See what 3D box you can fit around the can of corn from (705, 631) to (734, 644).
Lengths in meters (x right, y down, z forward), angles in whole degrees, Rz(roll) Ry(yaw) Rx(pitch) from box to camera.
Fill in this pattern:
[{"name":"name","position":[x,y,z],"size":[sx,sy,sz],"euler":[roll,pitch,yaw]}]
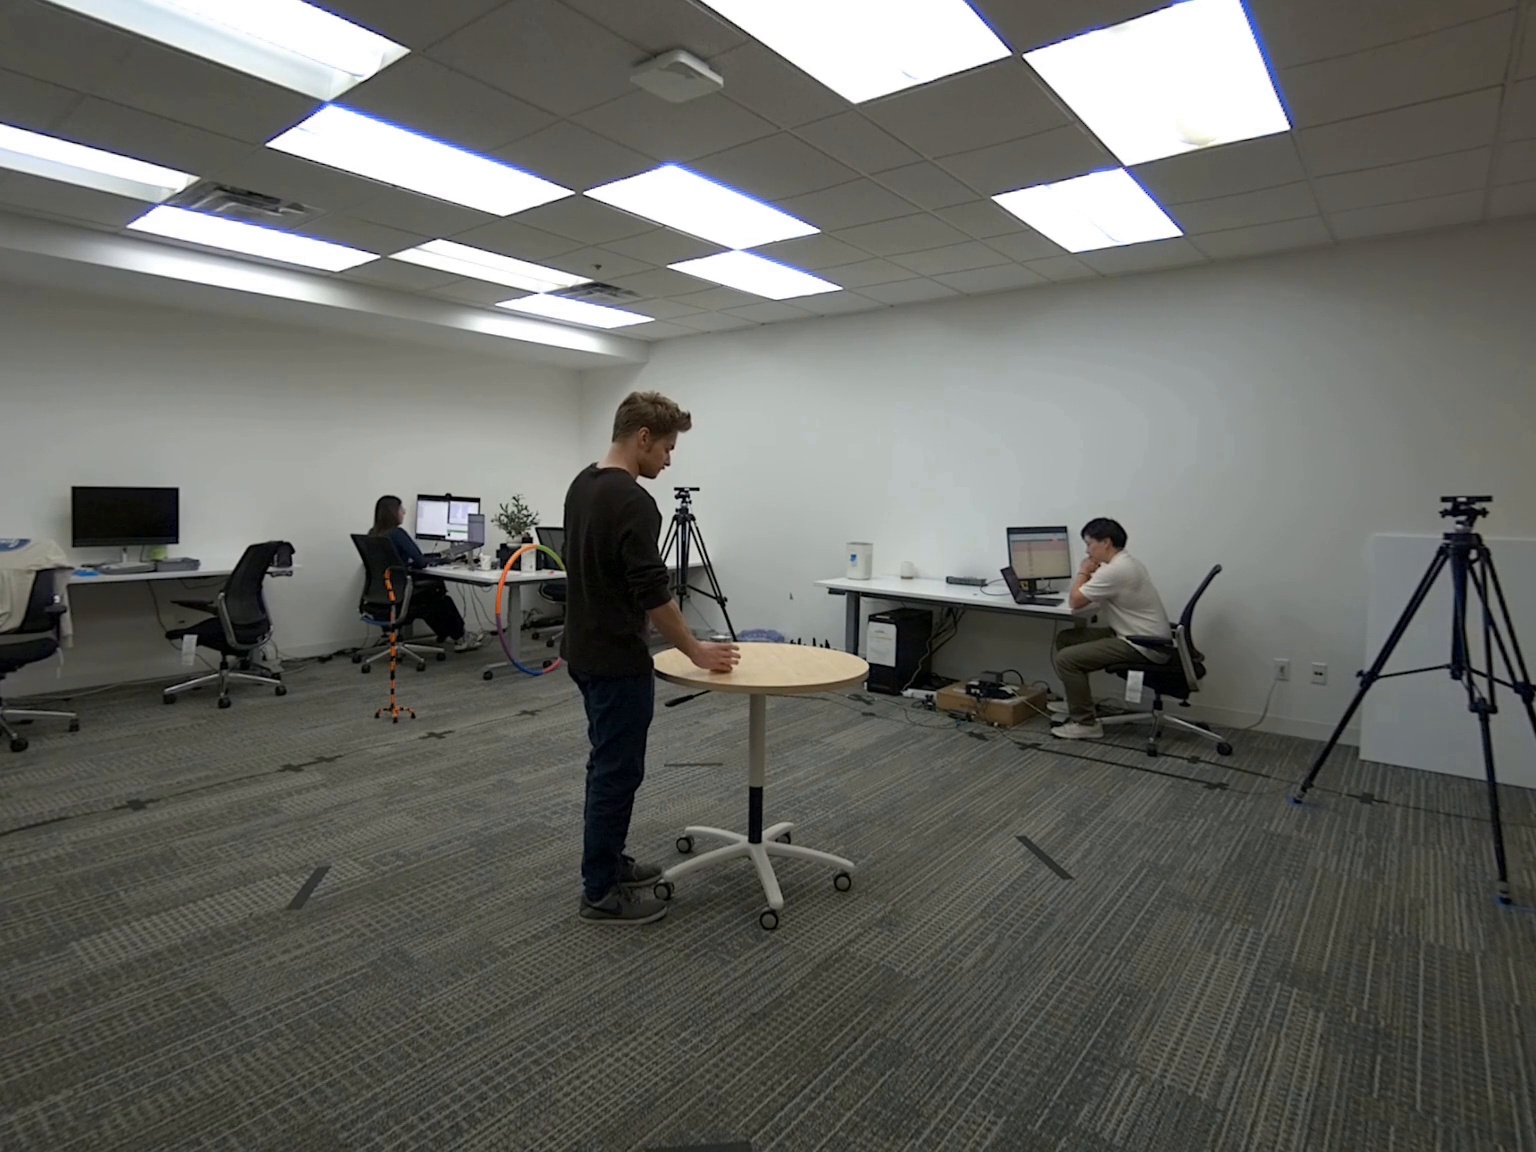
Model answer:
[{"name":"can of corn","position":[-0.166,0.261,2.814],"size":[0.074,0.110,0.075],"euler":[-1,6,-2]}]
